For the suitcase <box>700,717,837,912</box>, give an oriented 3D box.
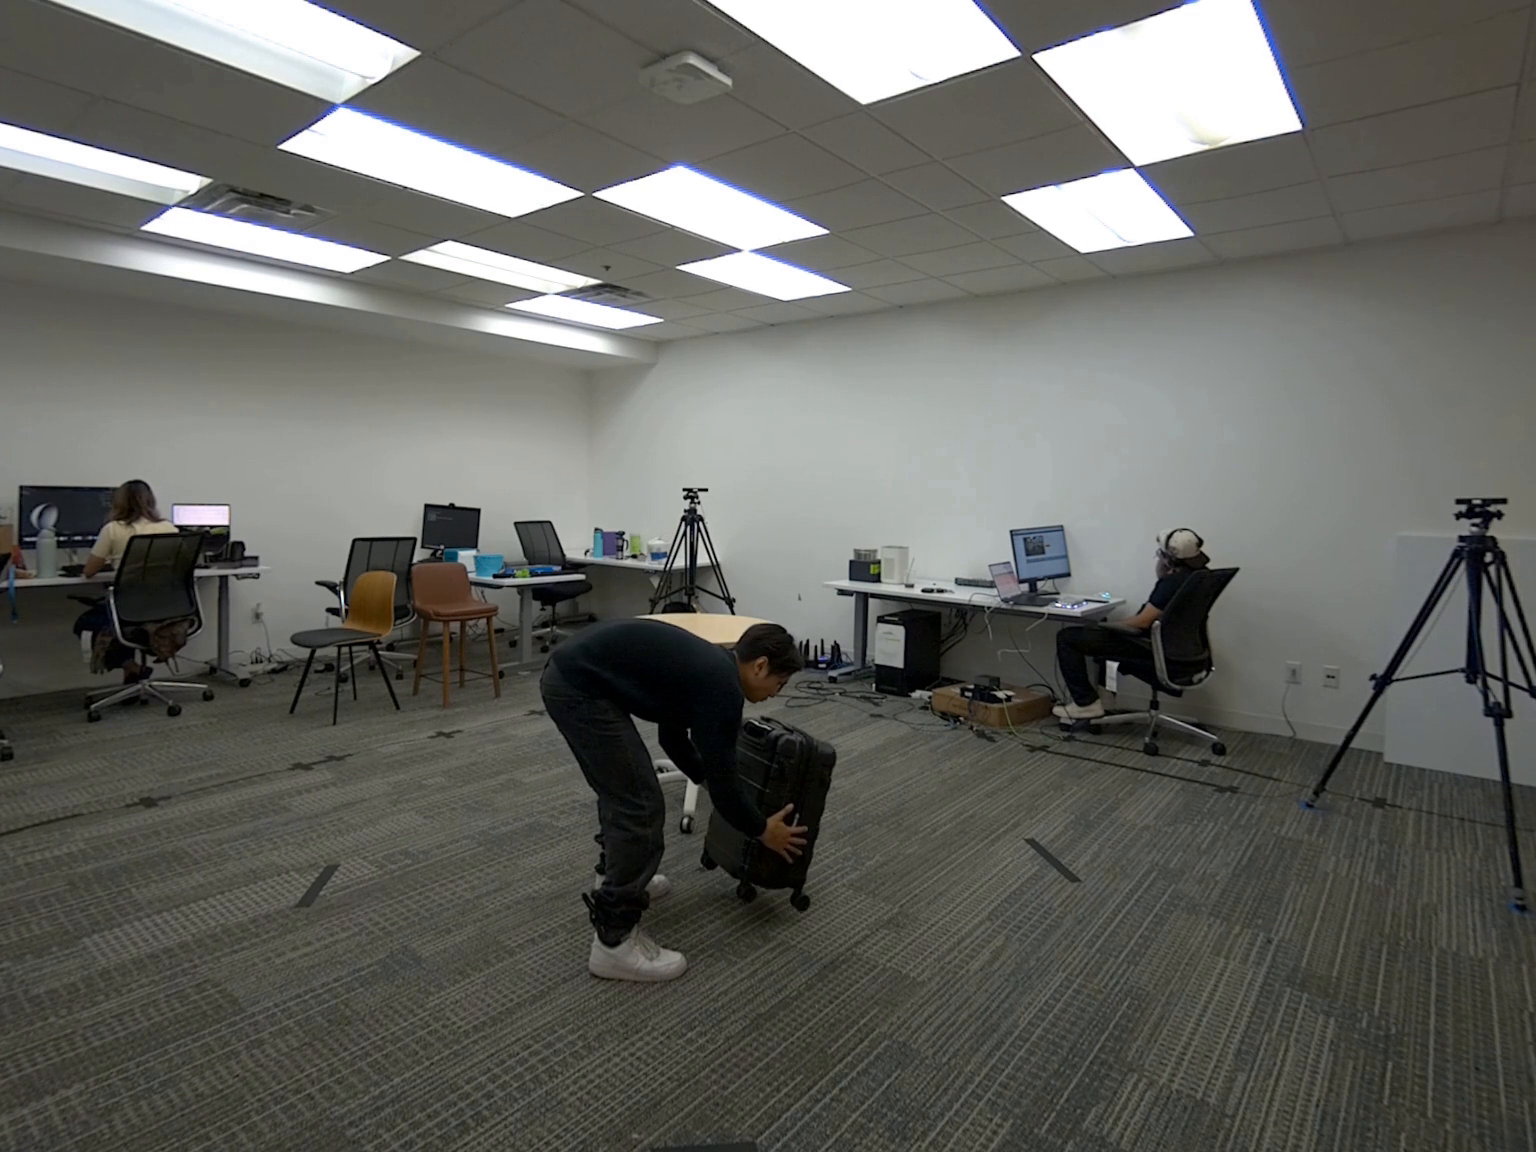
[{"bbox_3d":[-0.012,0.778,2.866,0.241,0.552,0.385,18,-7,-27],"label":"suitcase"}]
